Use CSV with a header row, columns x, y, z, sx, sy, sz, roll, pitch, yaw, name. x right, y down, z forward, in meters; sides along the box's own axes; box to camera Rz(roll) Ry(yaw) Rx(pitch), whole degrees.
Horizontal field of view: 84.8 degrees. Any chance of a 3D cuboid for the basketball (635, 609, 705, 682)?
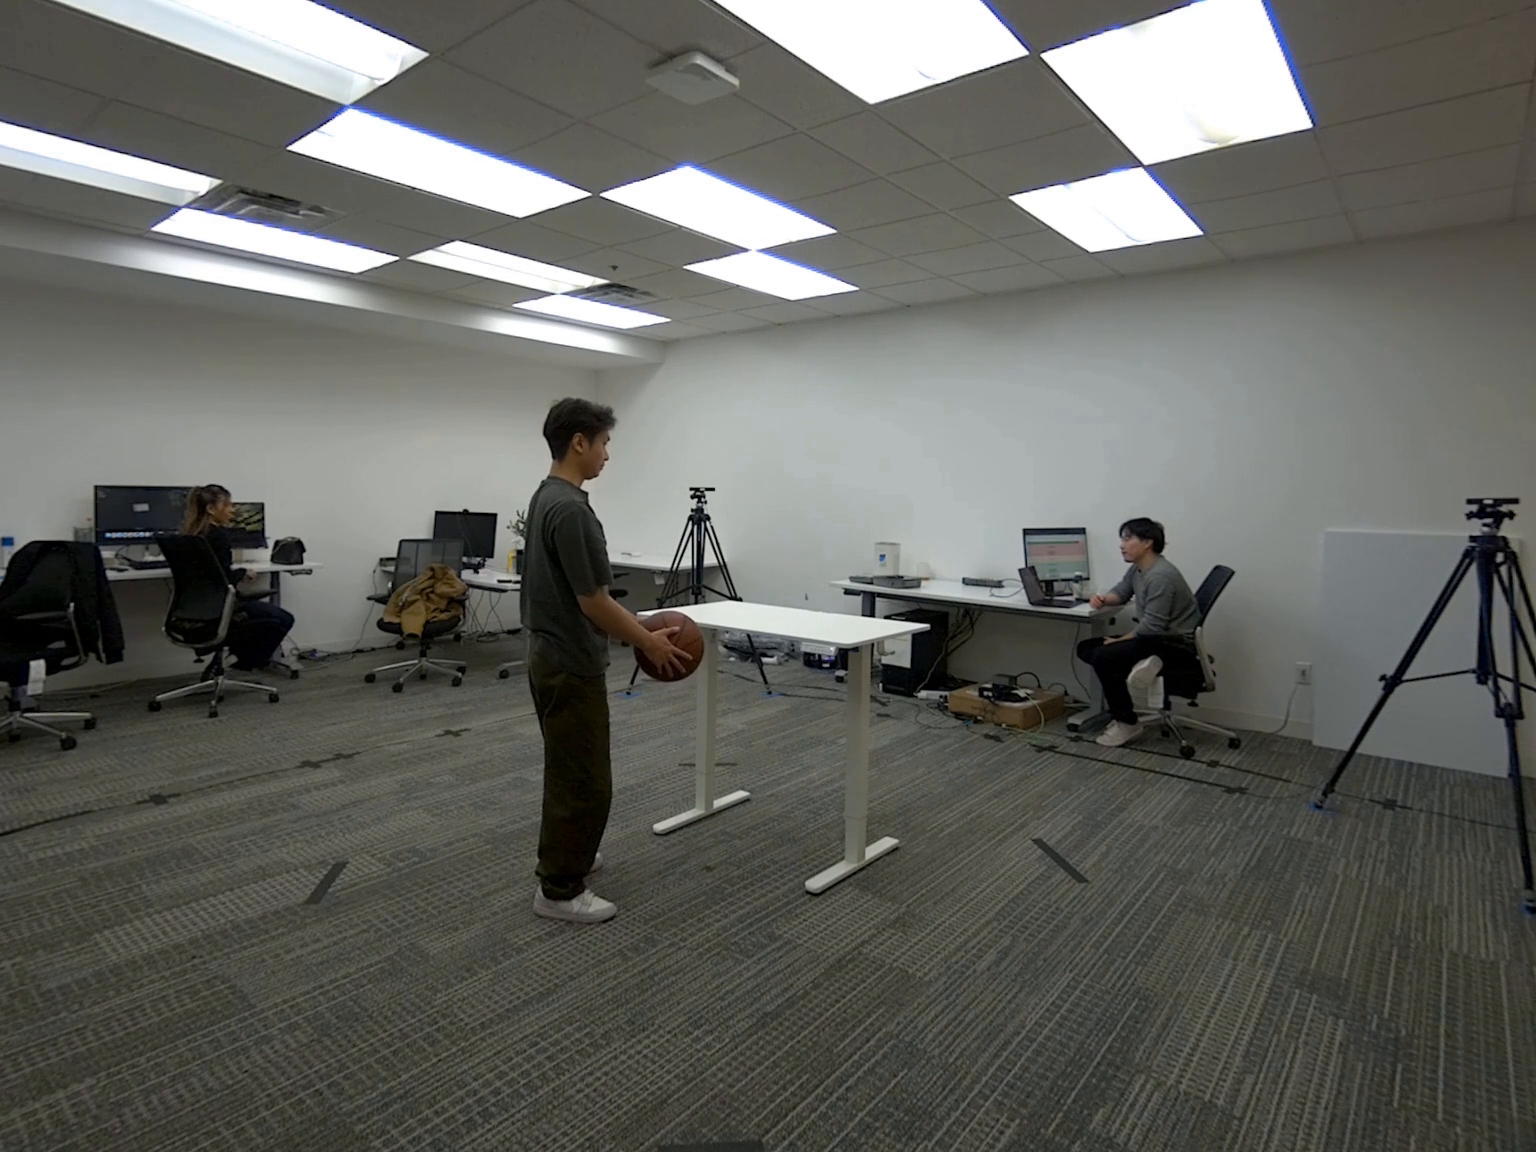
x,y,z,sx,sy,sz,roll,pitch,yaw,name
-0.353,0.234,2.849,0.235,0.235,0.237,1,4,-2,basketball
